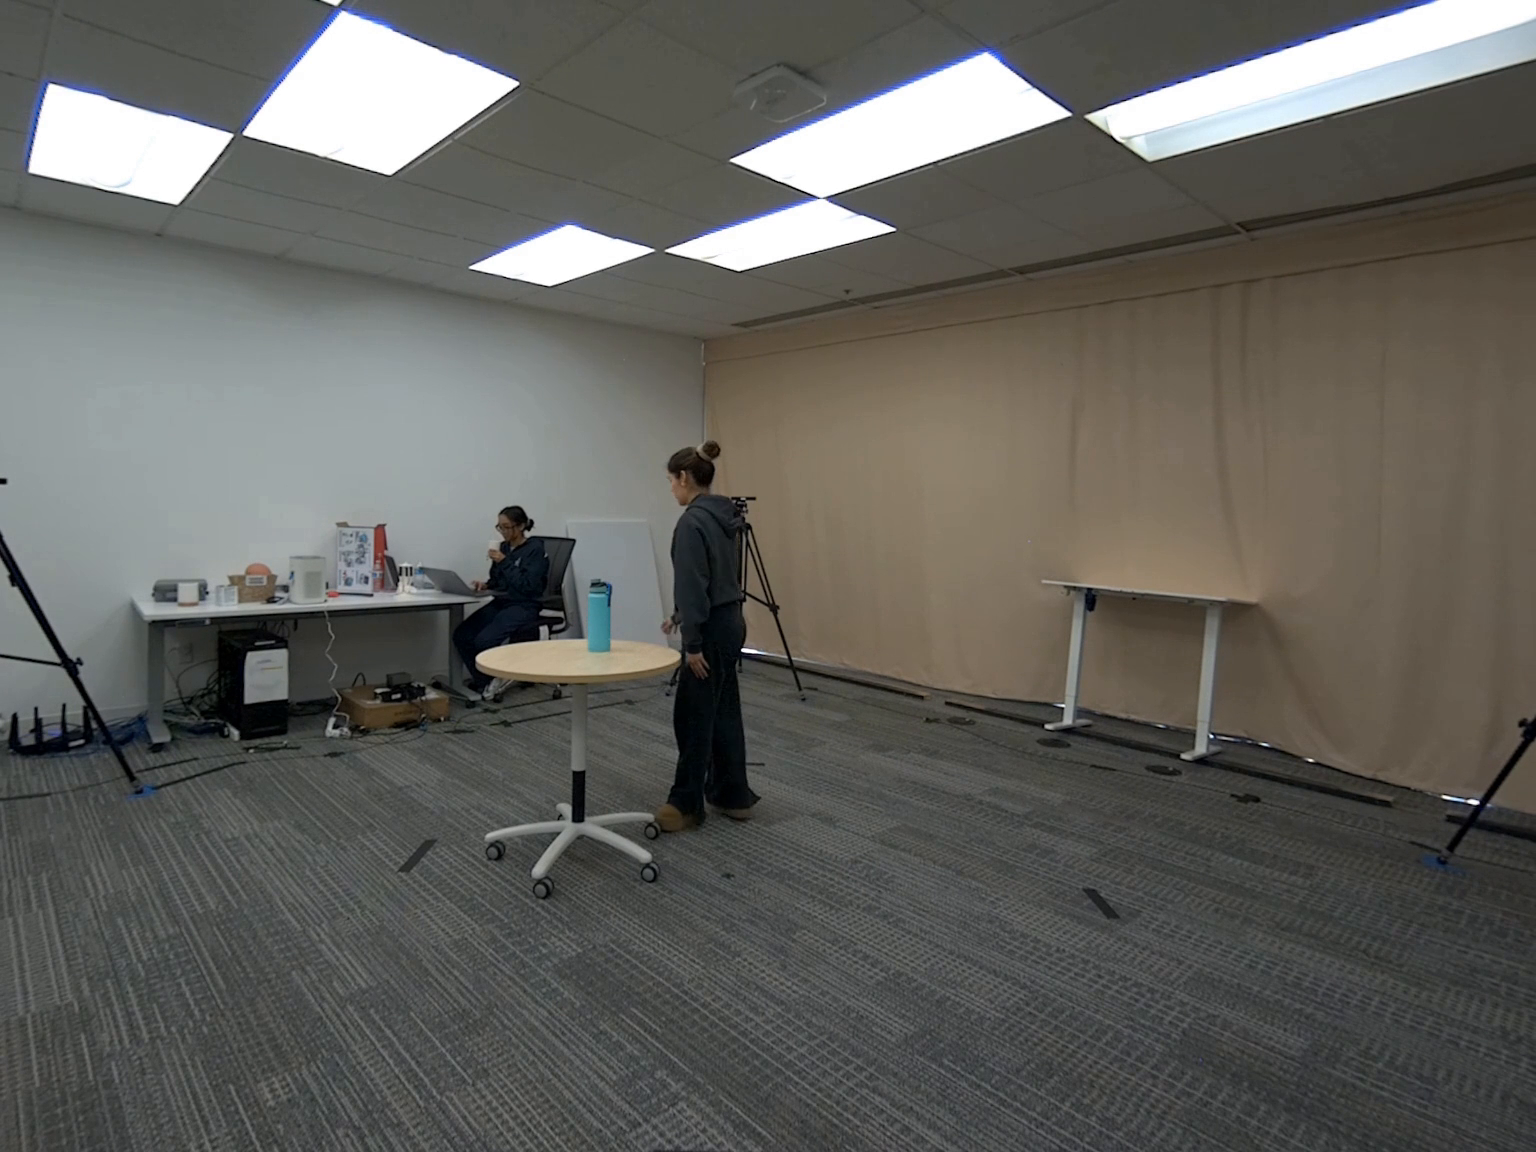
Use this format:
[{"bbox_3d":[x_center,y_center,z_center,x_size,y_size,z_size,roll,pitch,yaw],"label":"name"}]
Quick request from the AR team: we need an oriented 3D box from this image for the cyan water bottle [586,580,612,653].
[{"bbox_3d":[-0.677,0.155,3.317,0.092,0.283,0.092,2,3,-1],"label":"cyan water bottle"}]
